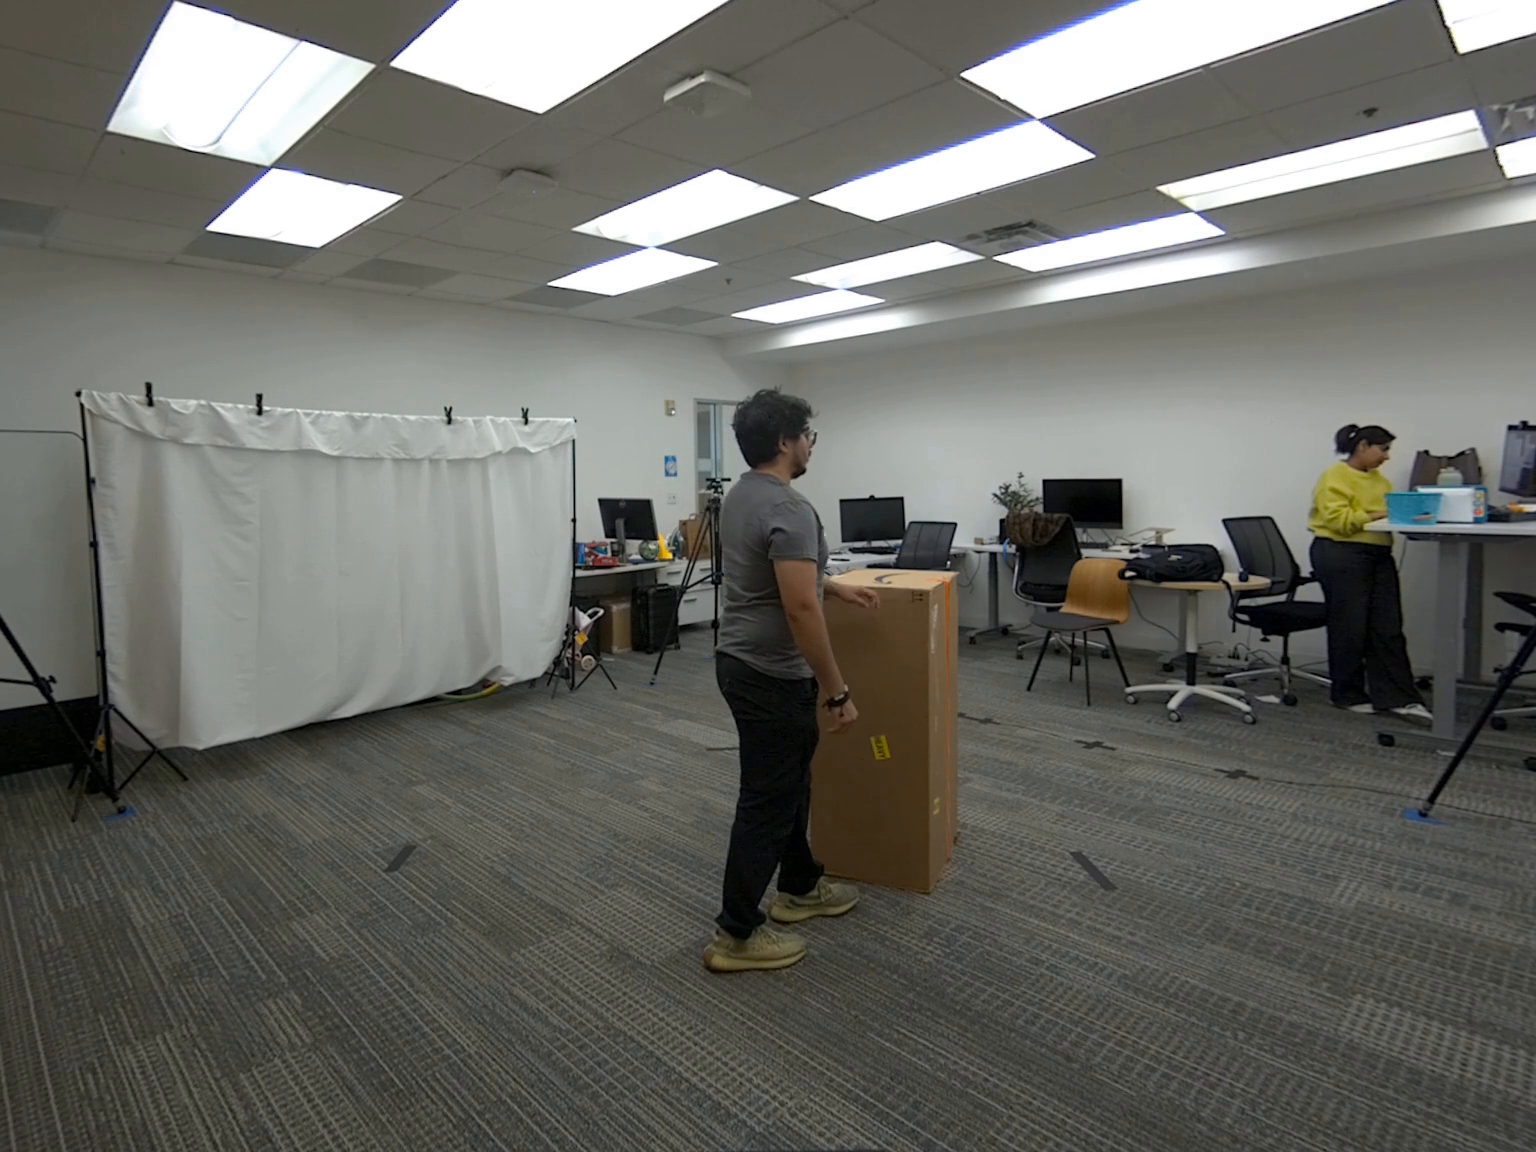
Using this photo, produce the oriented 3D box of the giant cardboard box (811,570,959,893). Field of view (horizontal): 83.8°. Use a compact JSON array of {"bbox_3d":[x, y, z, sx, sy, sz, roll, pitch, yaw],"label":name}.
[{"bbox_3d":[0.452,0.518,3.166,0.436,1.022,0.566,1,4,24],"label":"giant cardboard box"}]
